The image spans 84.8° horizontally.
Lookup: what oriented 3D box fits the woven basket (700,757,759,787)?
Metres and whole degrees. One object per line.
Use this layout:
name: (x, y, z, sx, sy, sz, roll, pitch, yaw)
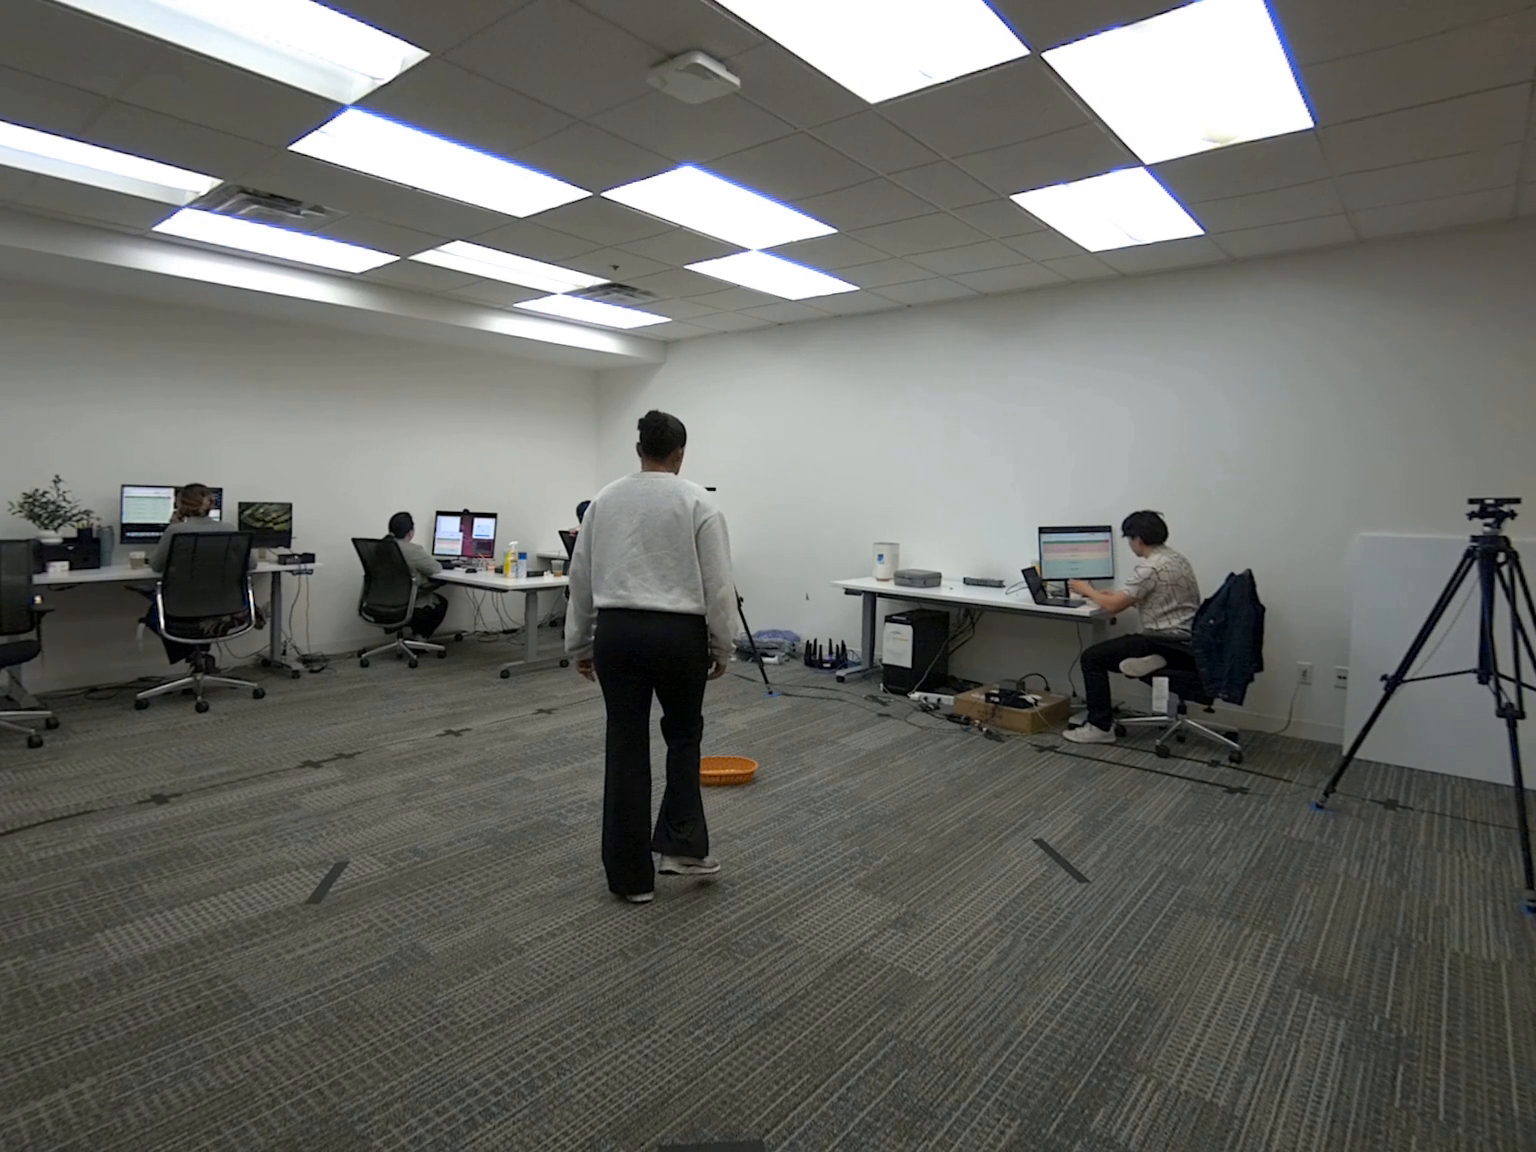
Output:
woven basket: (-0.230, 0.934, 4.084, 0.347, 0.073, 0.256, -1, 6, -10)
